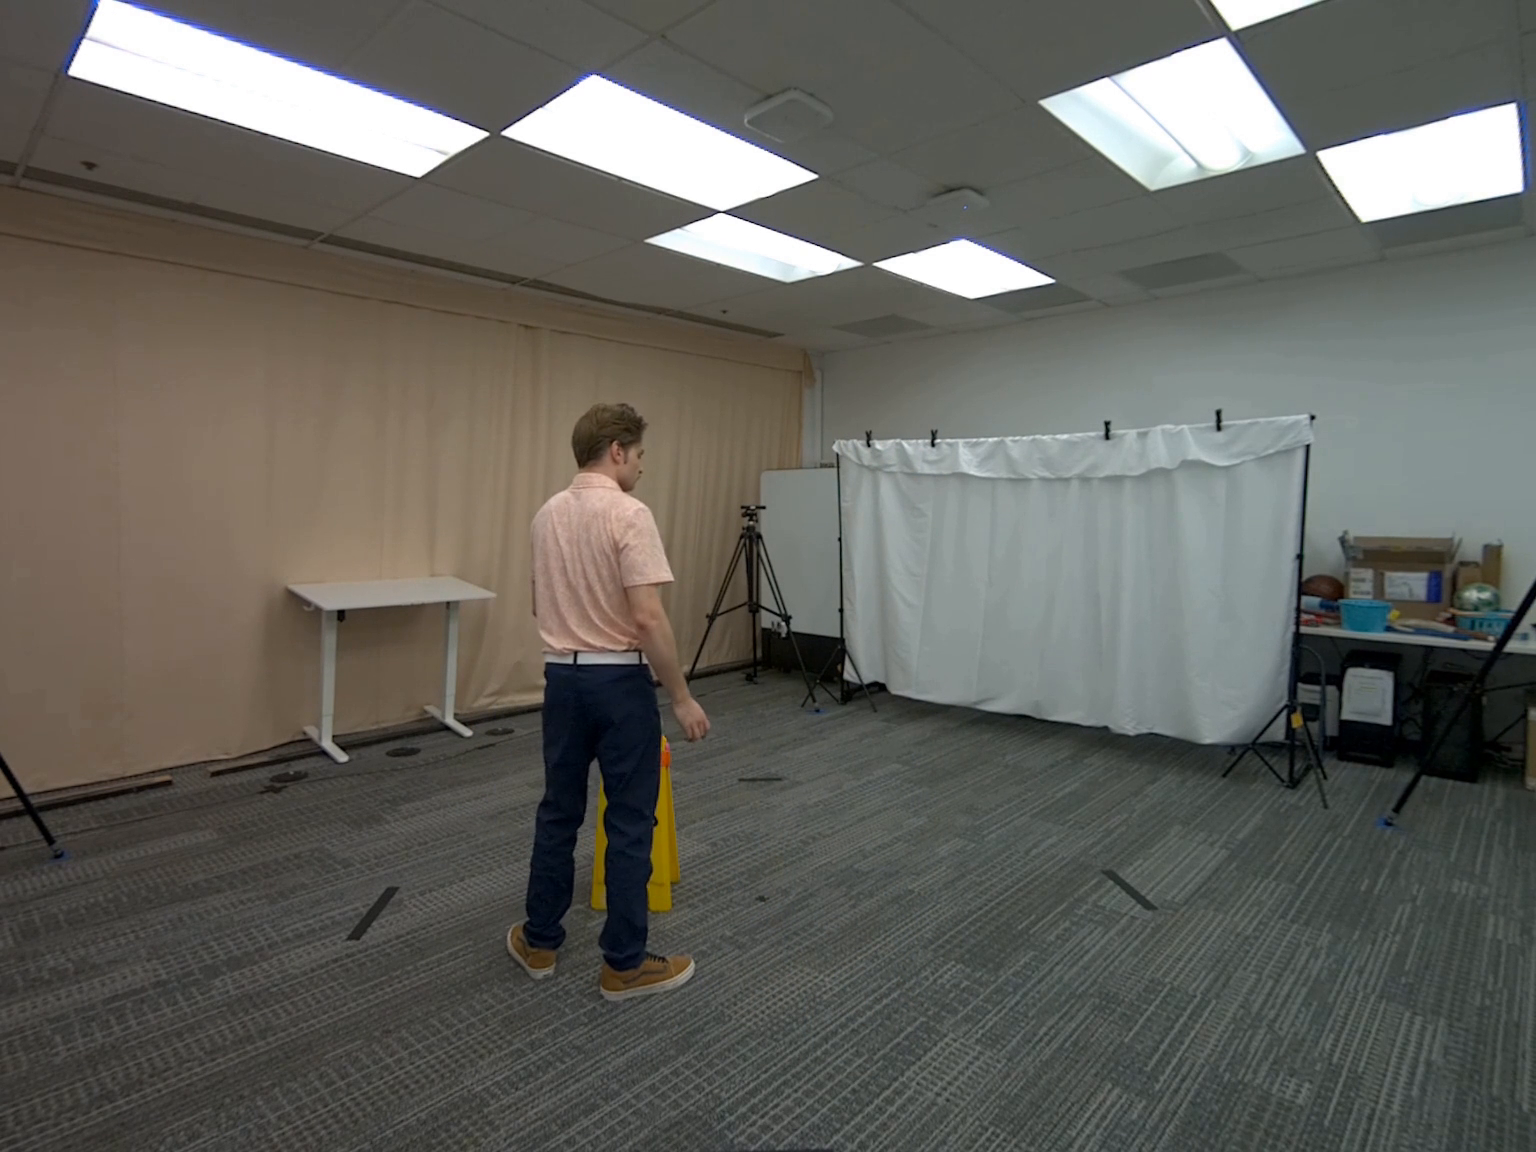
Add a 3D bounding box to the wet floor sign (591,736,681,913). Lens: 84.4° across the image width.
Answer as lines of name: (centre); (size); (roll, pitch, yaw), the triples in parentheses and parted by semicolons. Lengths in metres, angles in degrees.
wet floor sign: (-0.470, 0.819, 3.012); (0.284, 0.645, 0.288); (1, 1, 4)
